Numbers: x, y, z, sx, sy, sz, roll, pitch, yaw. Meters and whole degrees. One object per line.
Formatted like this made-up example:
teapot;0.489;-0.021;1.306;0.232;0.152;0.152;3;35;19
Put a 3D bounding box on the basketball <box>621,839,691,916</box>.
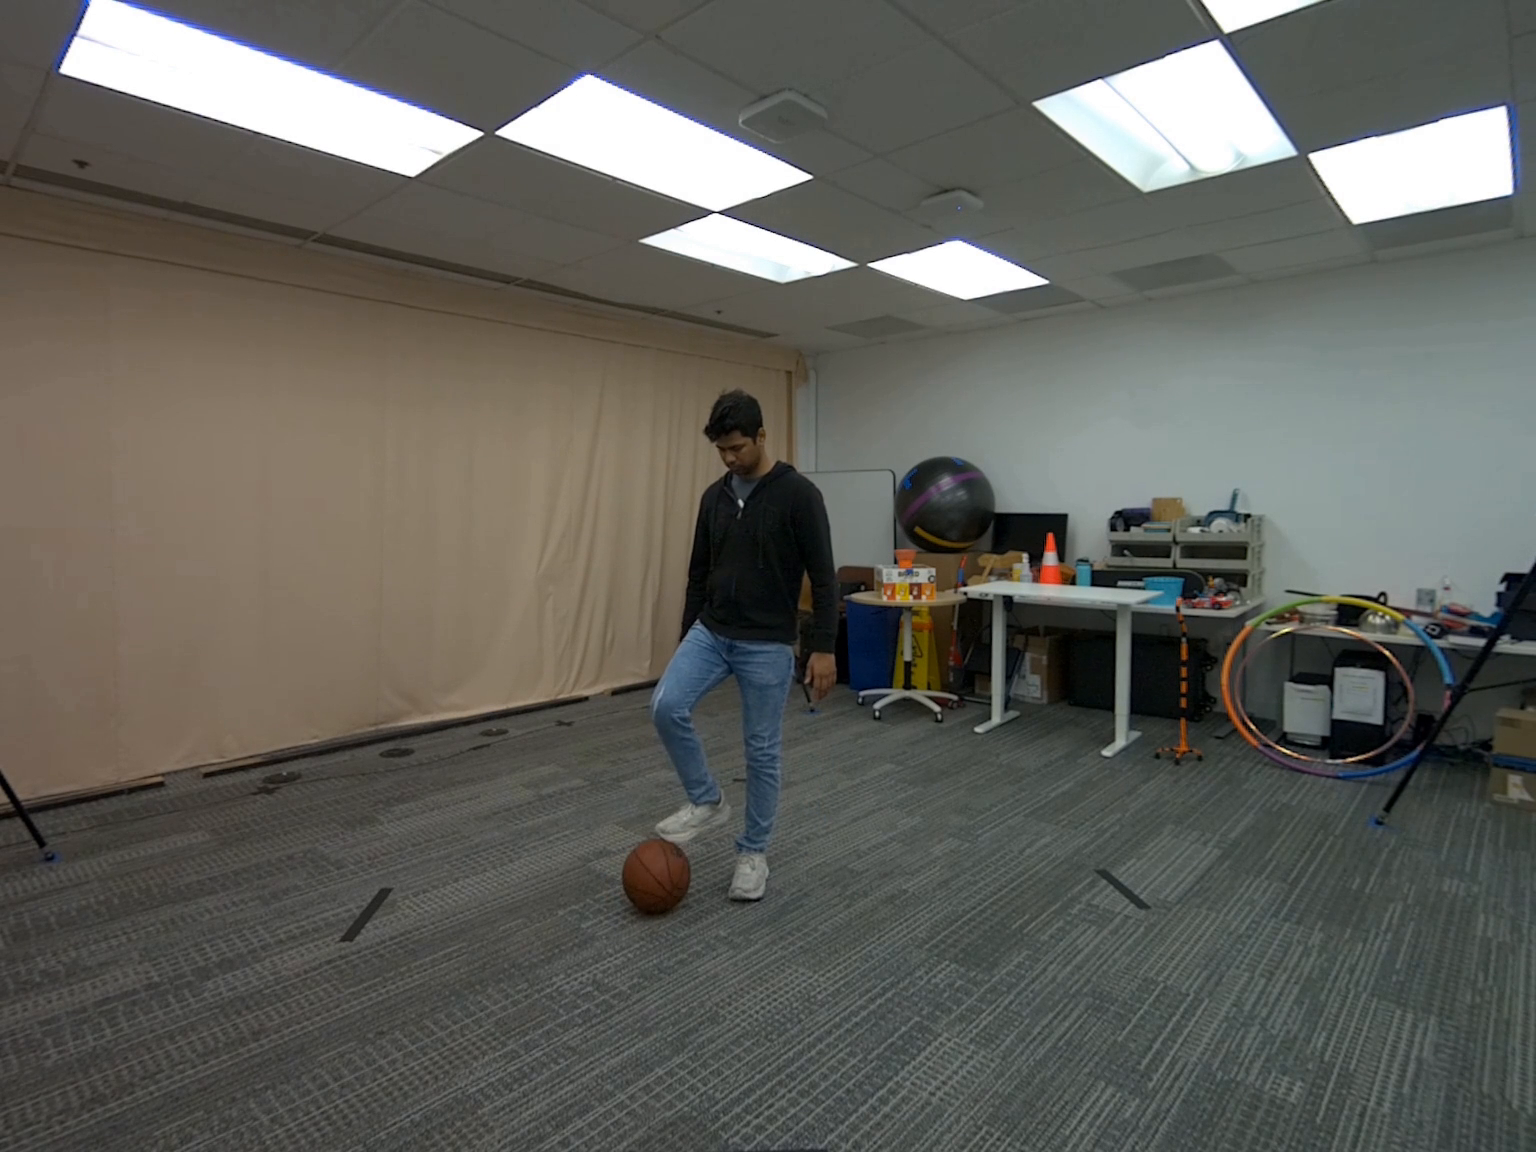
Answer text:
basketball;-0.397;1.035;2.893;0.236;0.235;0.237;0;4;-2
